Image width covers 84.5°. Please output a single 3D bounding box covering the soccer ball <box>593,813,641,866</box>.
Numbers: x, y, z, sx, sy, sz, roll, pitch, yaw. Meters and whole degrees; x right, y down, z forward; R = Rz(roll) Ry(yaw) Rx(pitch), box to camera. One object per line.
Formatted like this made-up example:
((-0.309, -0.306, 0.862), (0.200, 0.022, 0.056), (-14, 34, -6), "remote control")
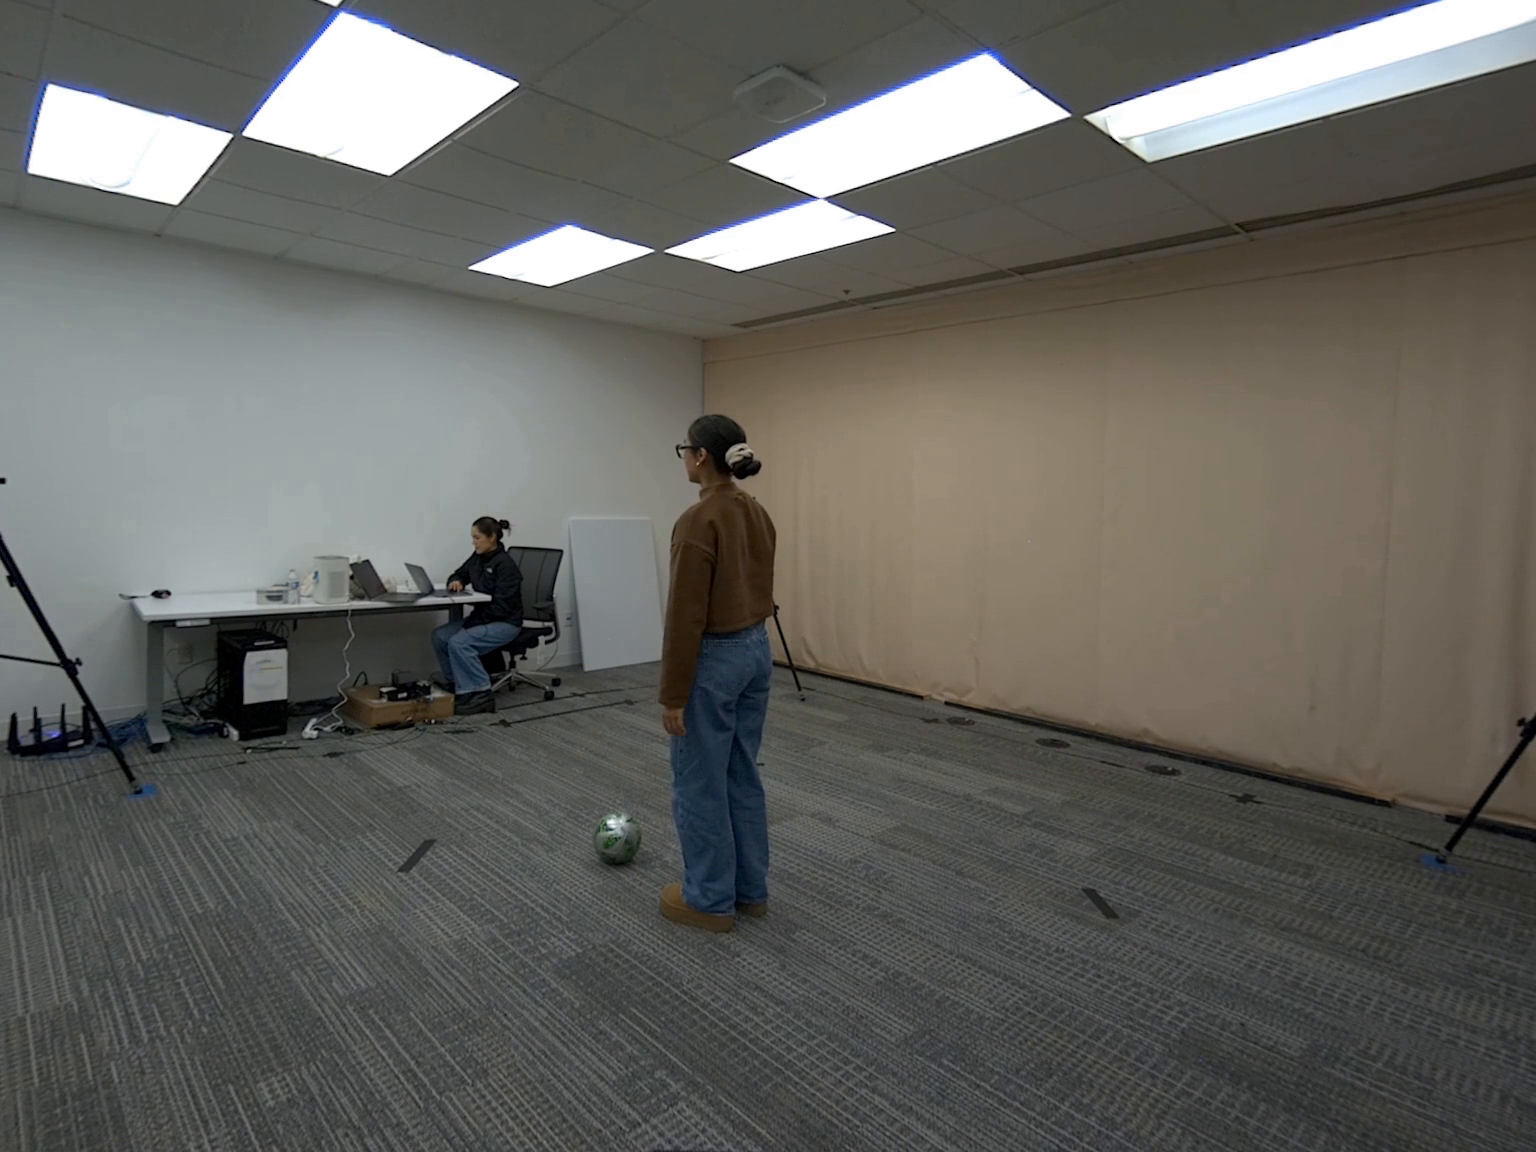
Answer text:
((-0.580, 0.997, 3.199), (0.187, 0.187, 0.188), (1, 4, -1), "soccer ball")
